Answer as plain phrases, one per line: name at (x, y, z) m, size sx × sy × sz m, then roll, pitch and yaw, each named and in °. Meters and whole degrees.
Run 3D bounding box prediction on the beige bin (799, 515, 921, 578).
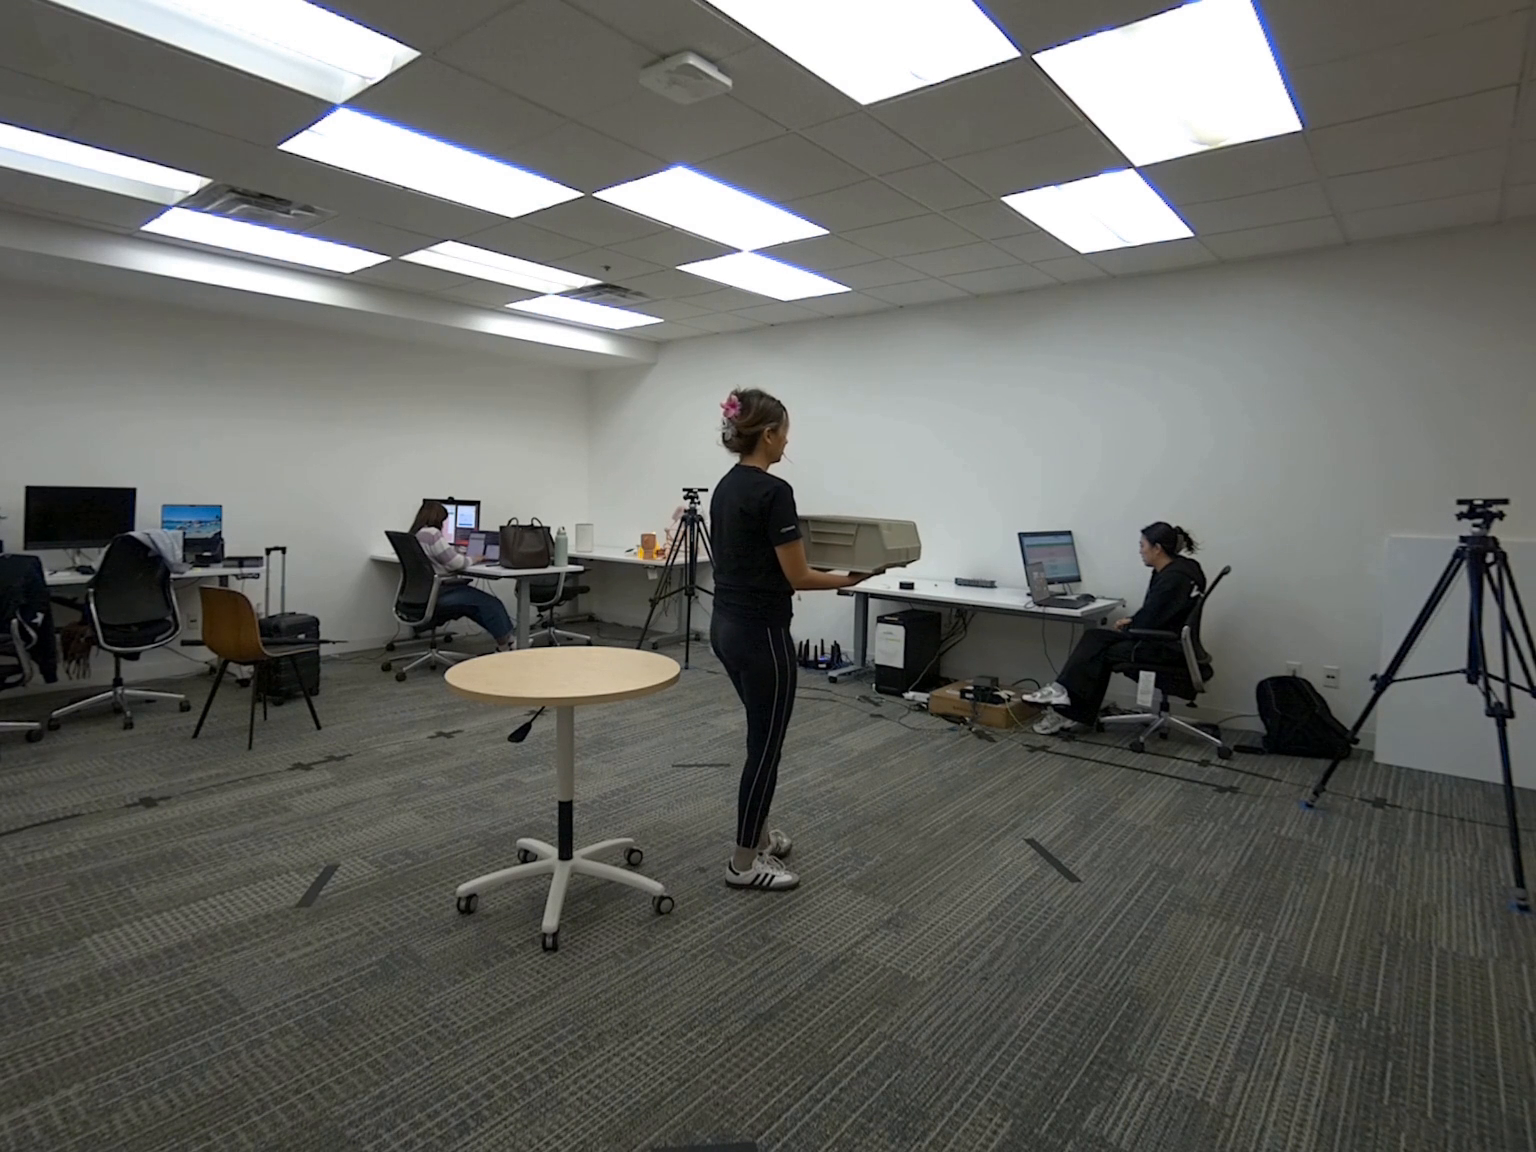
beige bin at (0.323, -0.124, 3.119) m, size 0.388 × 0.188 × 0.413 m, roll 5°, pitch 6°, yaw 26°
